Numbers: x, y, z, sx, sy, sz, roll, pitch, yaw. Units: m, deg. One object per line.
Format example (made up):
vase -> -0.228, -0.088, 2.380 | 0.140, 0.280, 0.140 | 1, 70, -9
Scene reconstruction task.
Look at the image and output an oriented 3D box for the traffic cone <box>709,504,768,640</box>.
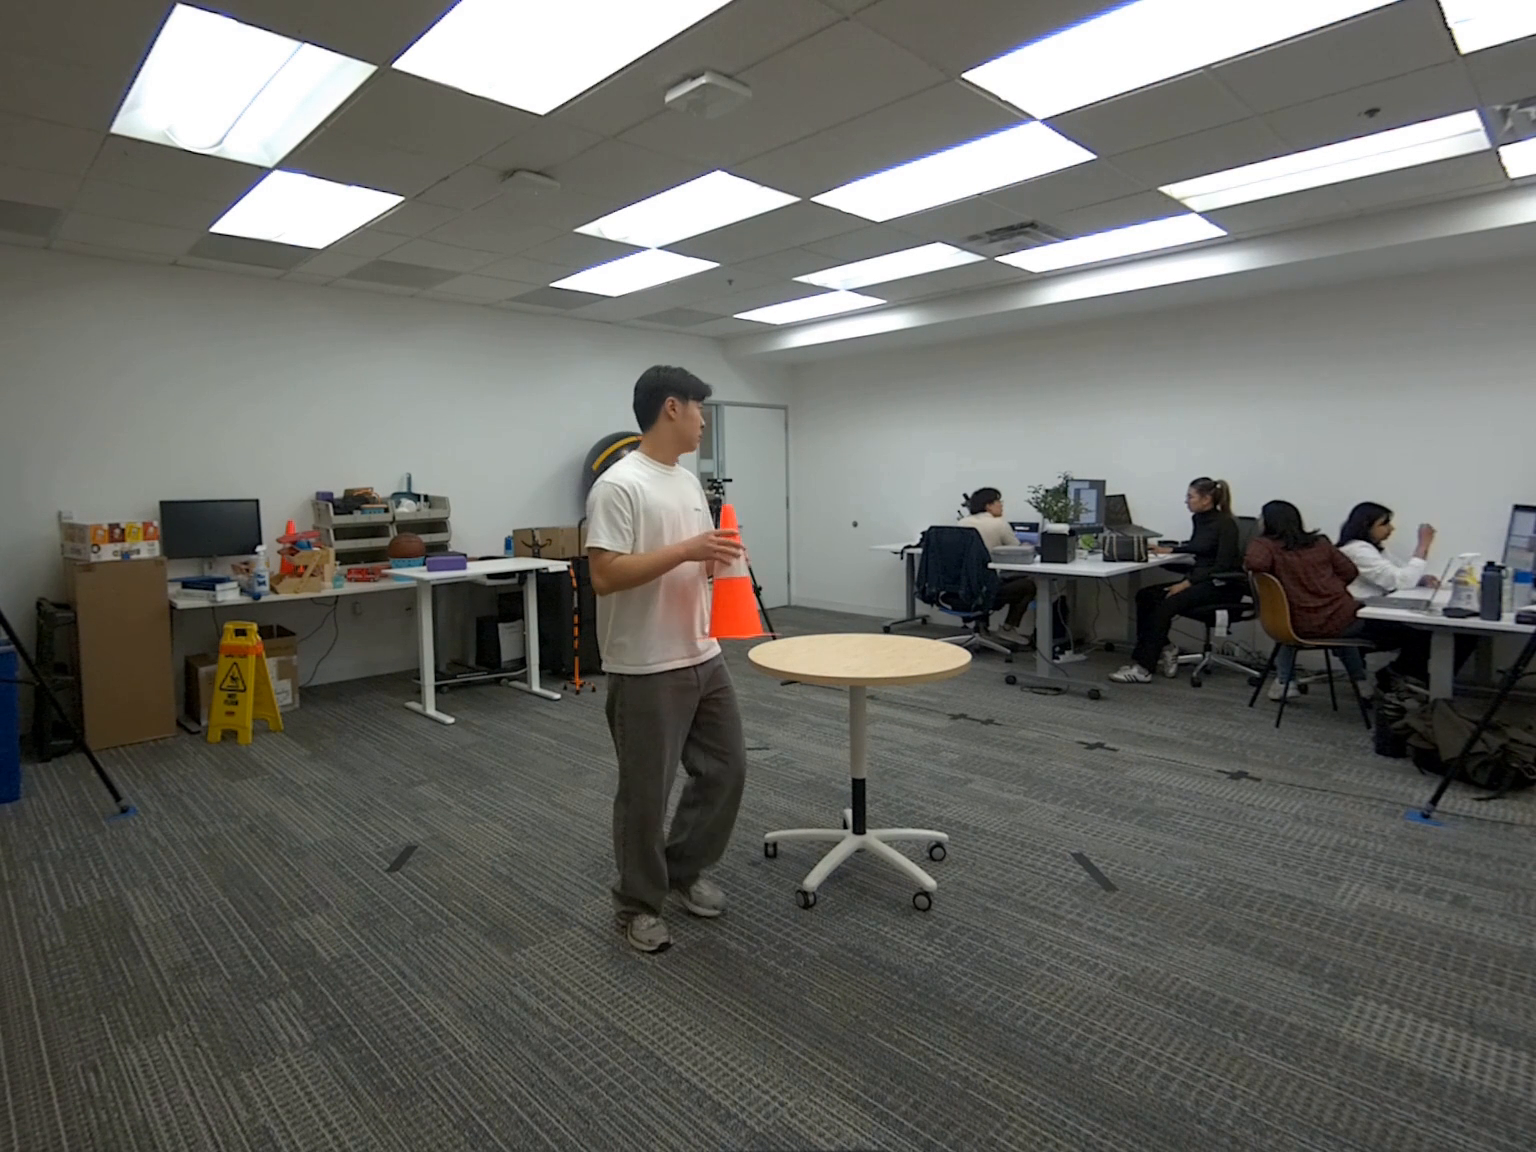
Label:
traffic cone -> -0.114, -0.010, 2.468 | 0.208, 0.384, 0.200 | -5, -2, 26
